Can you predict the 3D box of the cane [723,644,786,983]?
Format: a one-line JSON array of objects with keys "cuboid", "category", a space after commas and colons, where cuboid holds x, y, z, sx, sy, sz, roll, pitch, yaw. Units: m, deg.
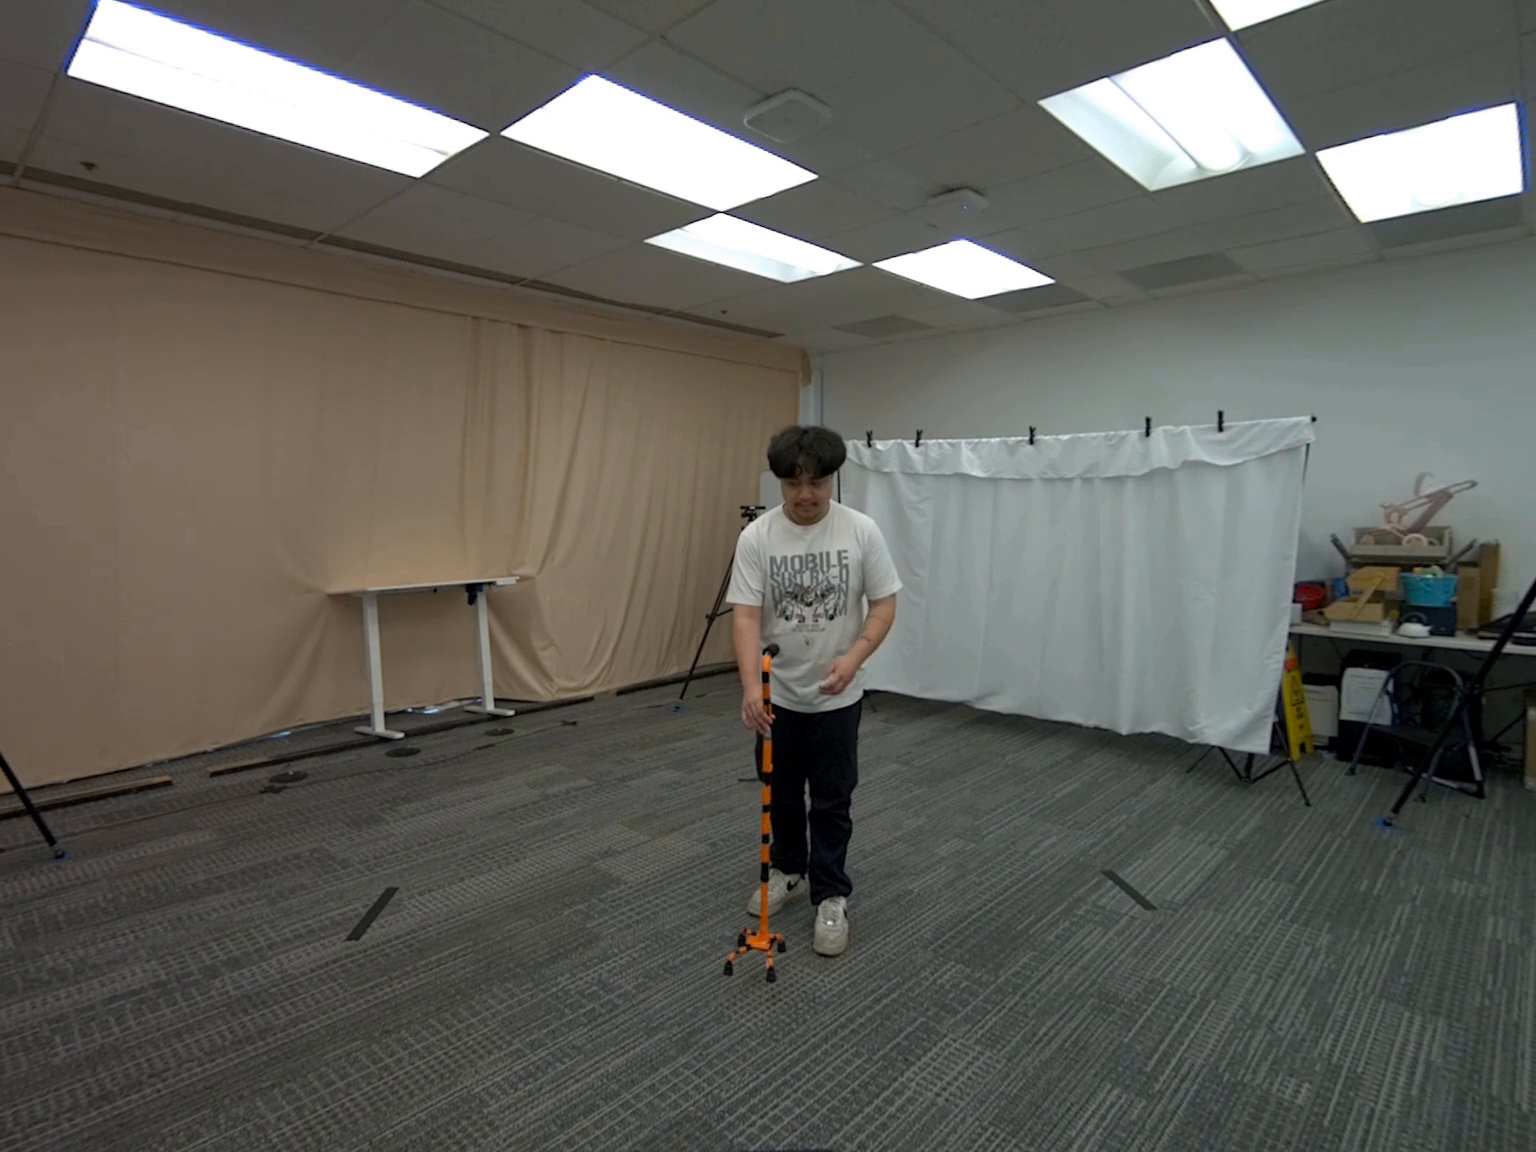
[{"cuboid": [-0.017, 0.674, 2.420, 0.154, 0.907, 0.204, 2, 2, 11], "category": "cane"}]
